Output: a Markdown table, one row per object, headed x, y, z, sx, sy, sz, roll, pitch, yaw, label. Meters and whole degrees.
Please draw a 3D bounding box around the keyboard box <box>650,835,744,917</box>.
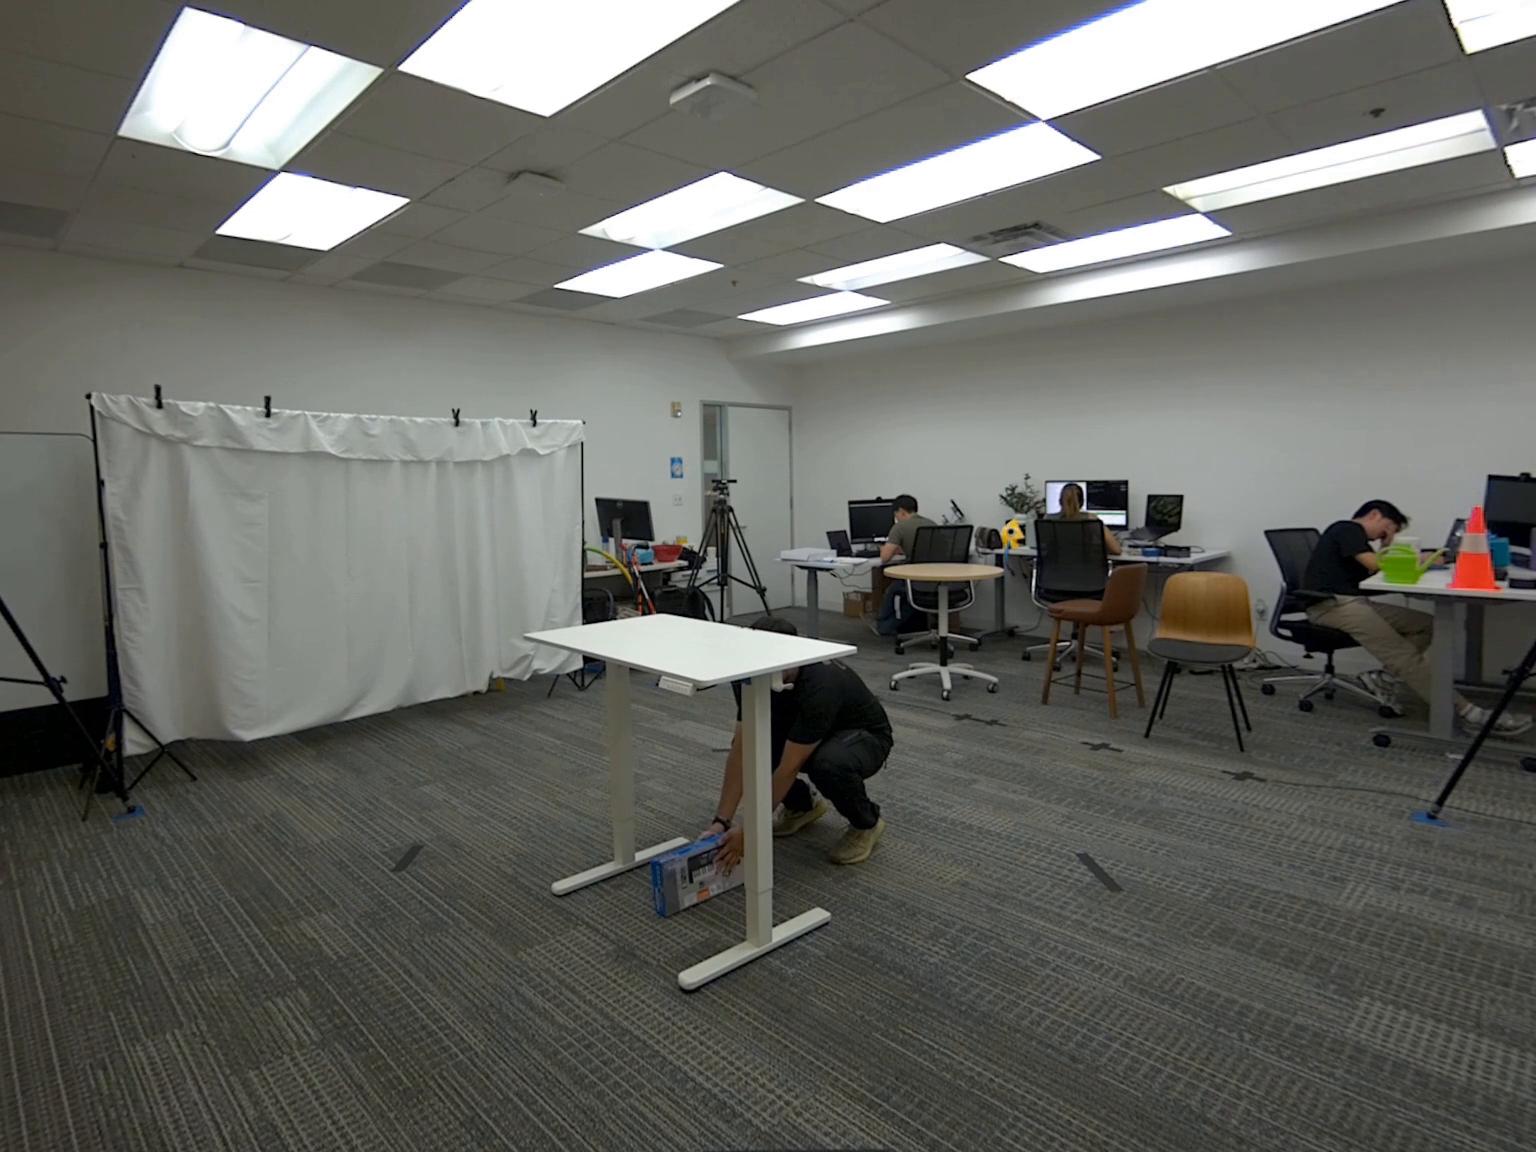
| x | y | z | sx | sy | sz | roll | pitch | yaw | label |
| --- | --- | --- | --- | --- | --- | --- | --- | --- | --- |
| -0.195 | 0.988 | 2.889 | 0.425 | 0.176 | 0.060 | -6 | 0 | -40 | keyboard box |
